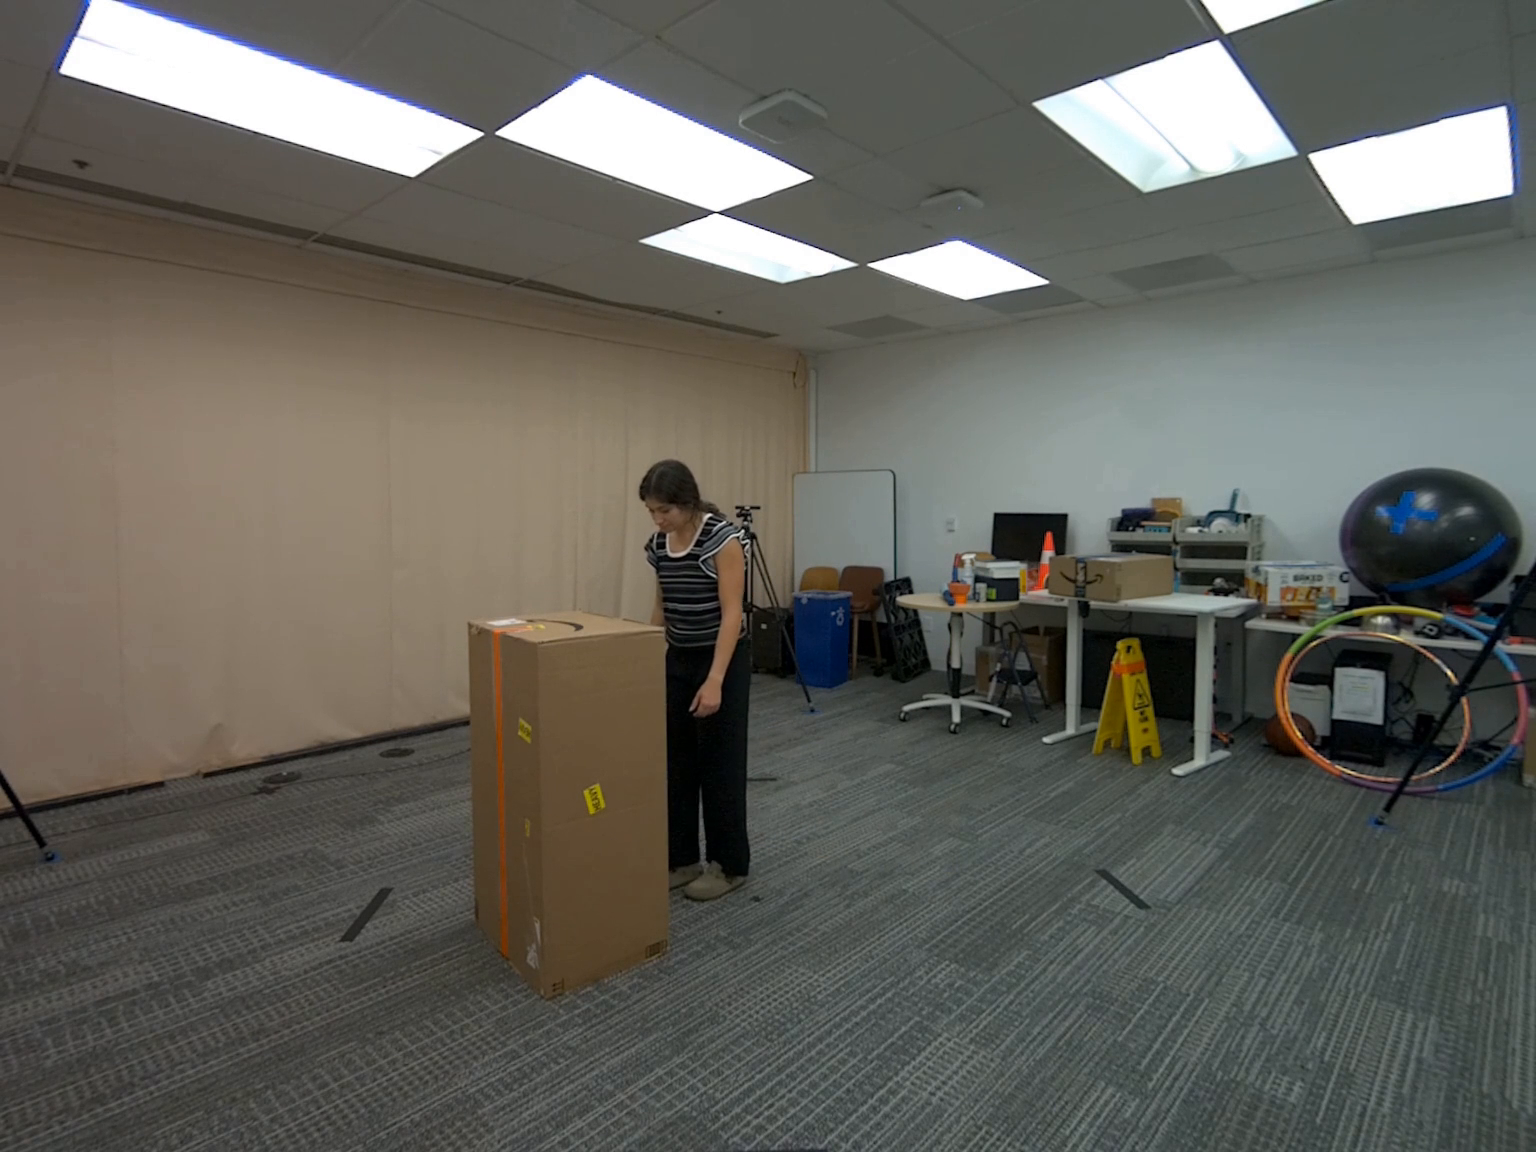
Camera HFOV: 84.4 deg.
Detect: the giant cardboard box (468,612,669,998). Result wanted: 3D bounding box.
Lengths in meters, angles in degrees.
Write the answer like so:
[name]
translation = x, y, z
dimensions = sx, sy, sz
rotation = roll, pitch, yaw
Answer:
[giant cardboard box]
translation = -0.657, 0.665, 2.700
dimensions = 0.413, 1.024, 0.596
rotation = -3, 4, -38
